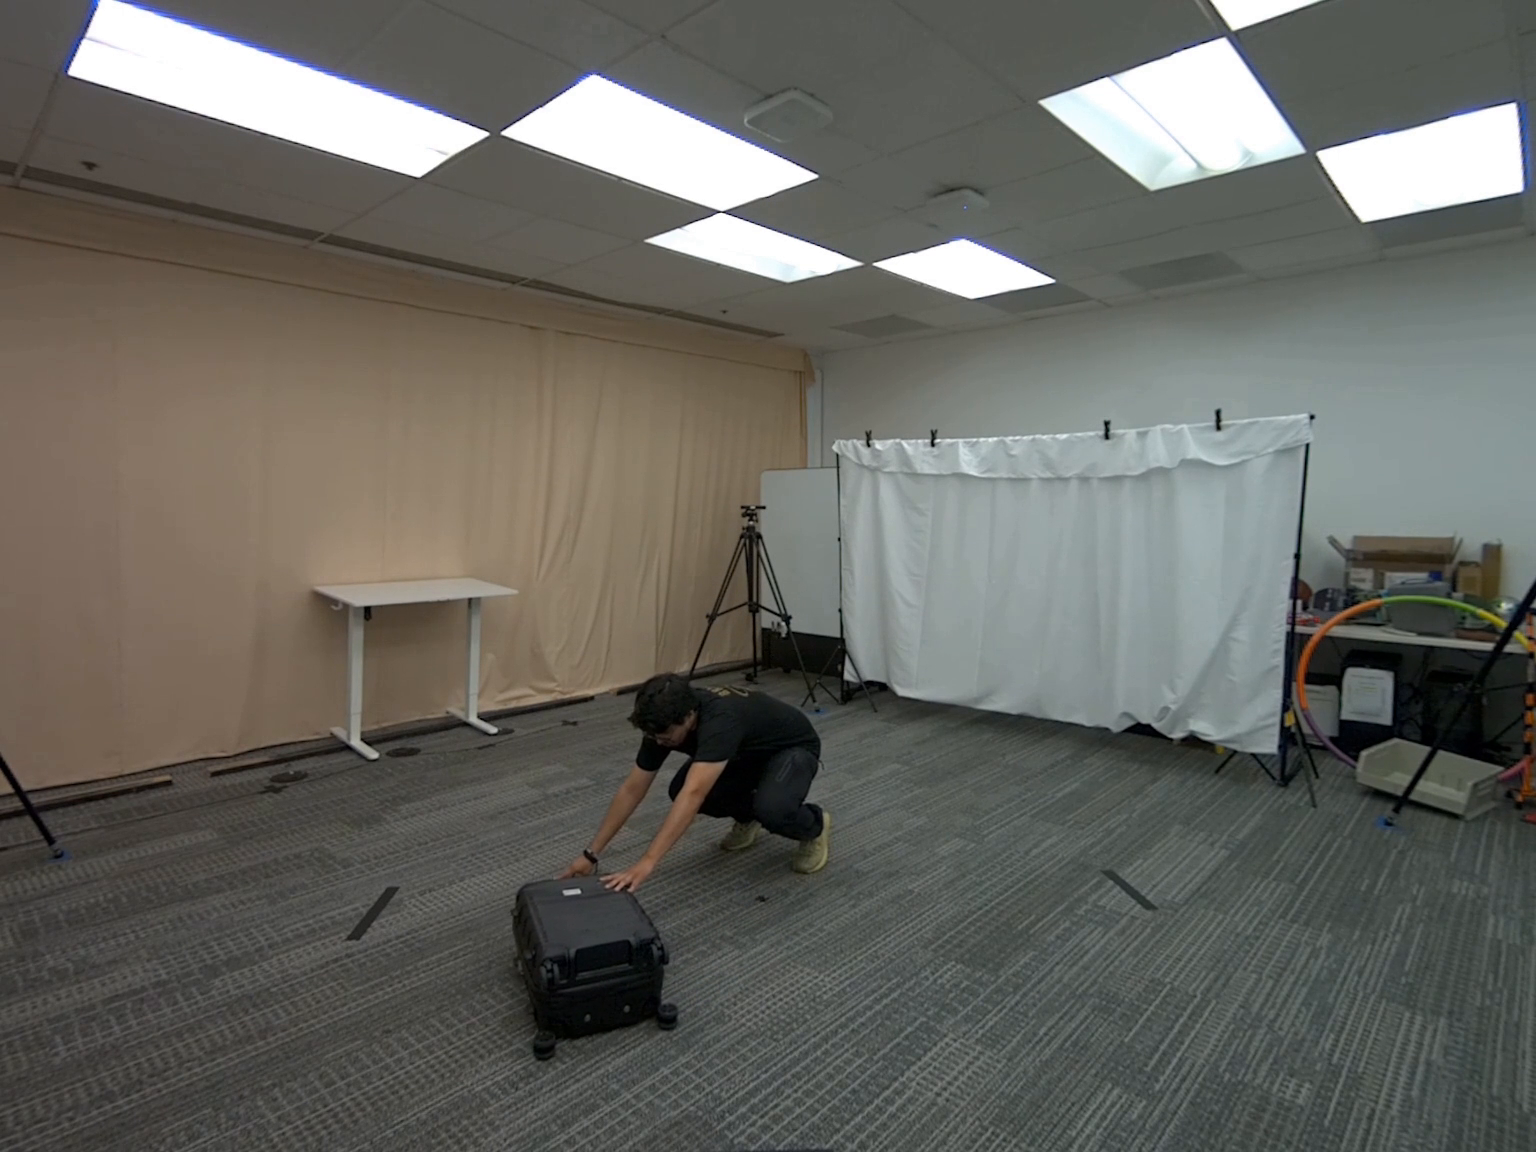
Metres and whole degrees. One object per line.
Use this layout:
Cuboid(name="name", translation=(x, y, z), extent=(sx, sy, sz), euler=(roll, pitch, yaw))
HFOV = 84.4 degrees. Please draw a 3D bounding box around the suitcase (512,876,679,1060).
Cuboid(name="suitcase", translation=(-0.608, 1.051, 2.617), extent=(0.375, 0.256, 1.004), euler=(-3, 7, -24))
